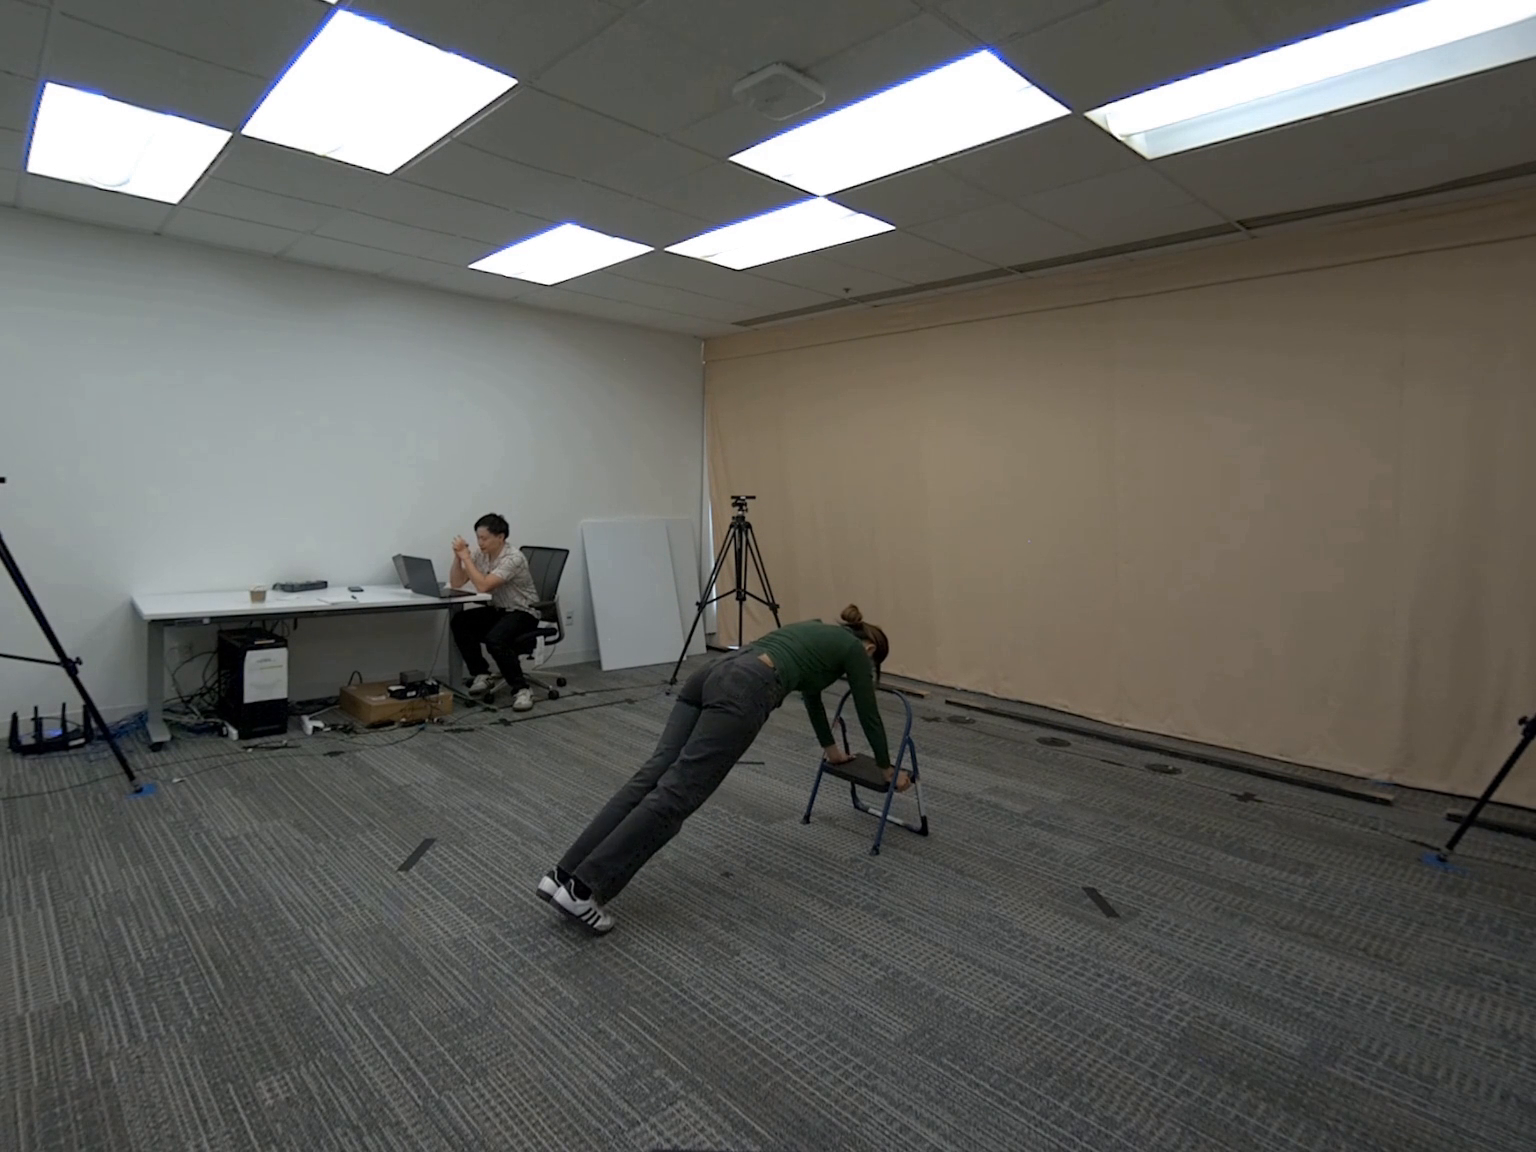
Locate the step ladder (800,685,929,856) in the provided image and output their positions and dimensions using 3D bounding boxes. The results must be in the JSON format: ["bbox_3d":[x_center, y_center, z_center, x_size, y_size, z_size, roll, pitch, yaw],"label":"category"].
[{"bbox_3d":[0.410,0.775,3.556,0.341,0.605,0.441,-1,4,-40],"label":"step ladder"}]
